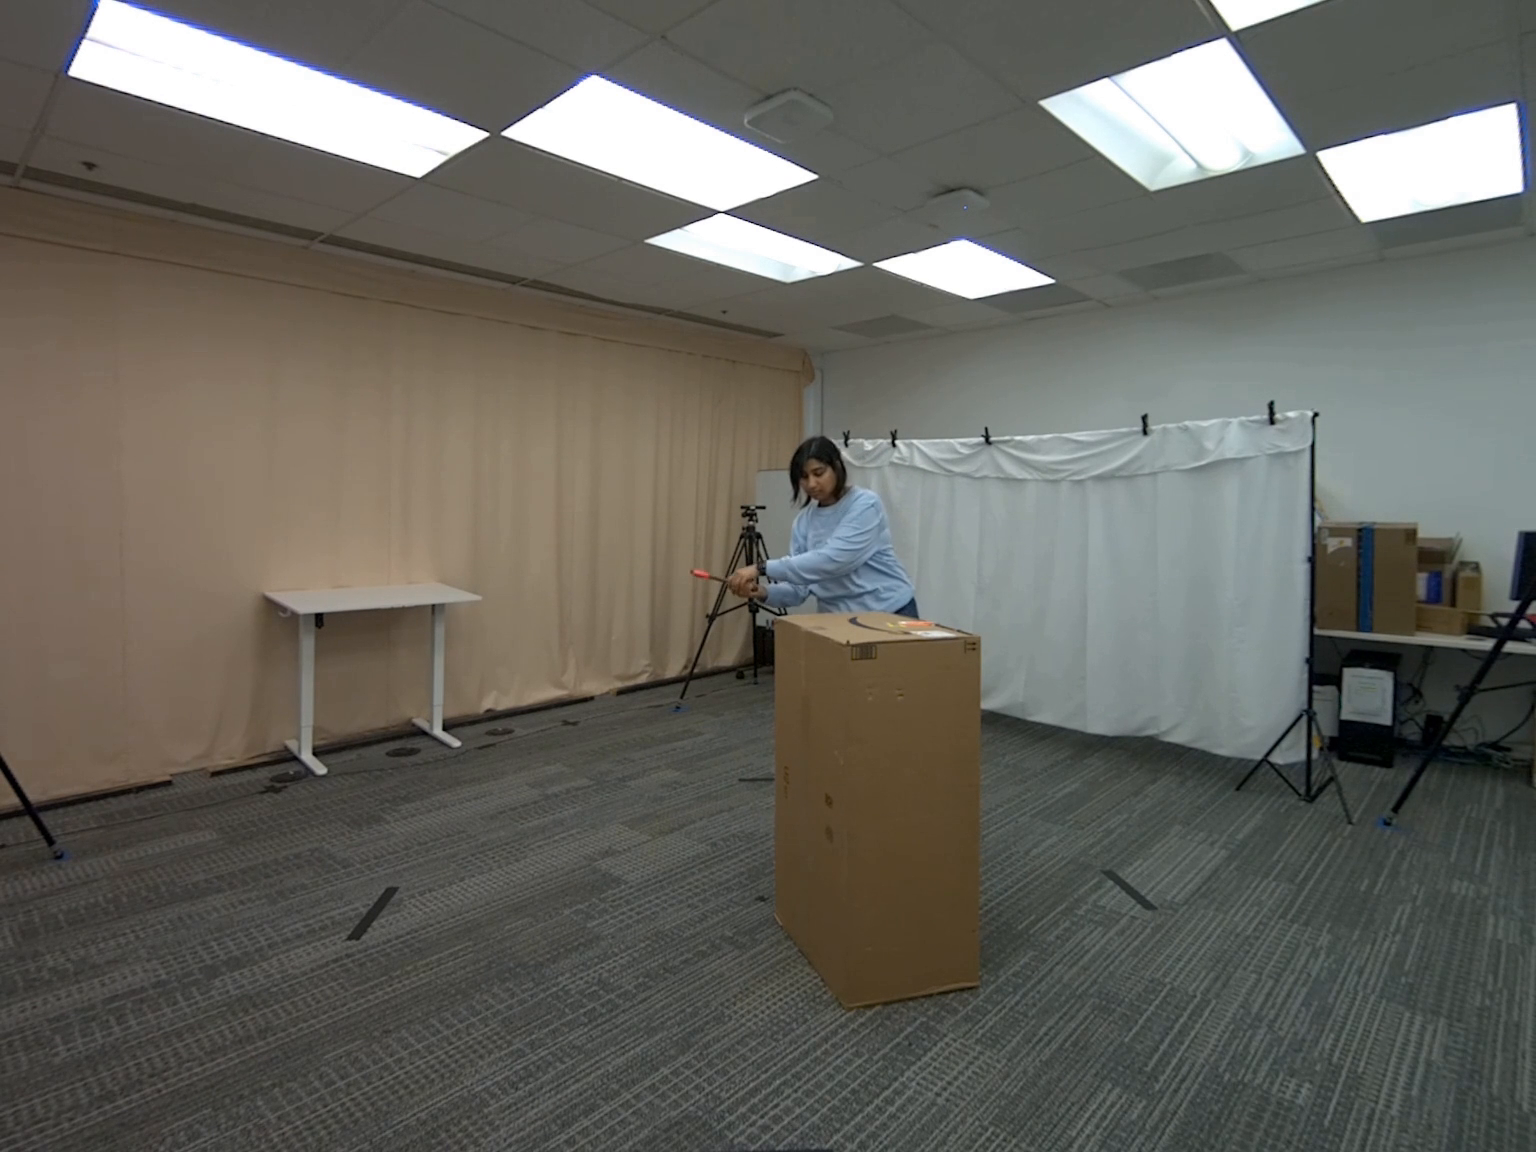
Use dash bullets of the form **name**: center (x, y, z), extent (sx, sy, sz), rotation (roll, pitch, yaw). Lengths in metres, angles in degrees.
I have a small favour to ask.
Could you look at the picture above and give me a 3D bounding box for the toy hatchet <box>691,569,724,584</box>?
- **toy hatchet**: center (-0.148, 0.006, 3.300), extent (0.276, 0.029, 0.128), rotation (10, -2, 17)
